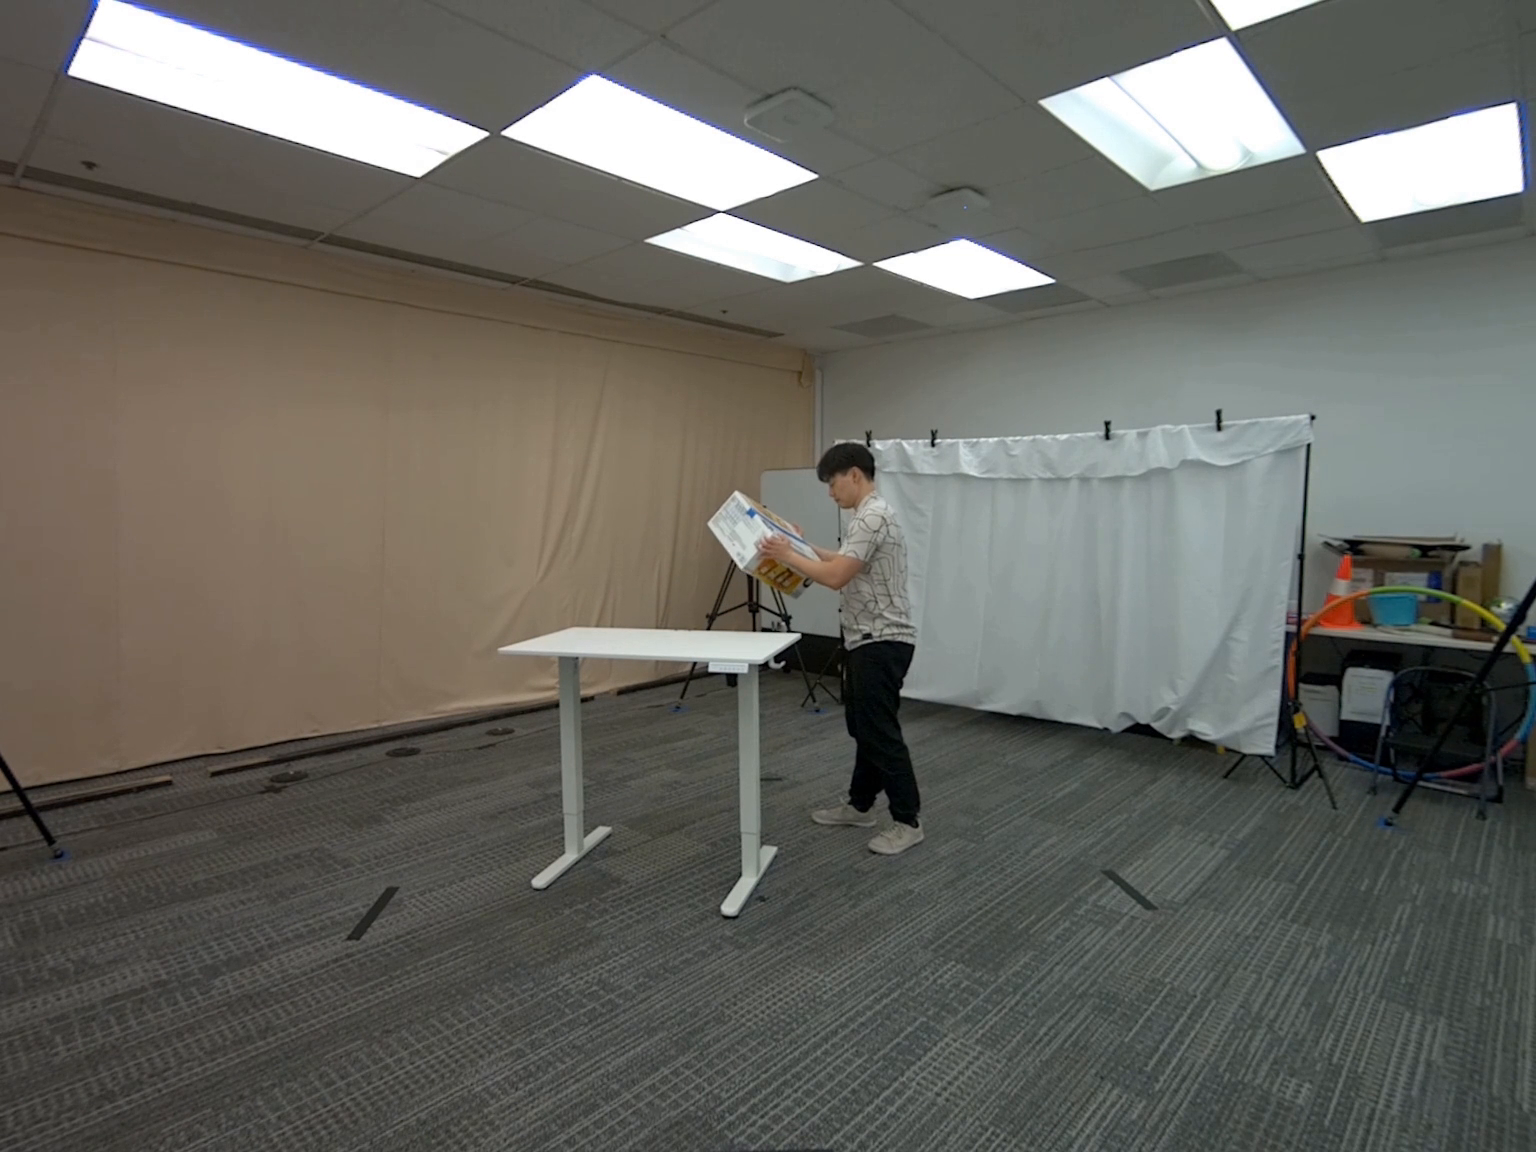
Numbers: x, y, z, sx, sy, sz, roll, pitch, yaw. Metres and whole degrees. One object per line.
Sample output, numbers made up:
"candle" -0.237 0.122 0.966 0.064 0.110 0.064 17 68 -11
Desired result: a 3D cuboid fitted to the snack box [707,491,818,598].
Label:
"snack box" -0.001 -0.131 3.701 0.390 0.206 0.352 29 17 -45
